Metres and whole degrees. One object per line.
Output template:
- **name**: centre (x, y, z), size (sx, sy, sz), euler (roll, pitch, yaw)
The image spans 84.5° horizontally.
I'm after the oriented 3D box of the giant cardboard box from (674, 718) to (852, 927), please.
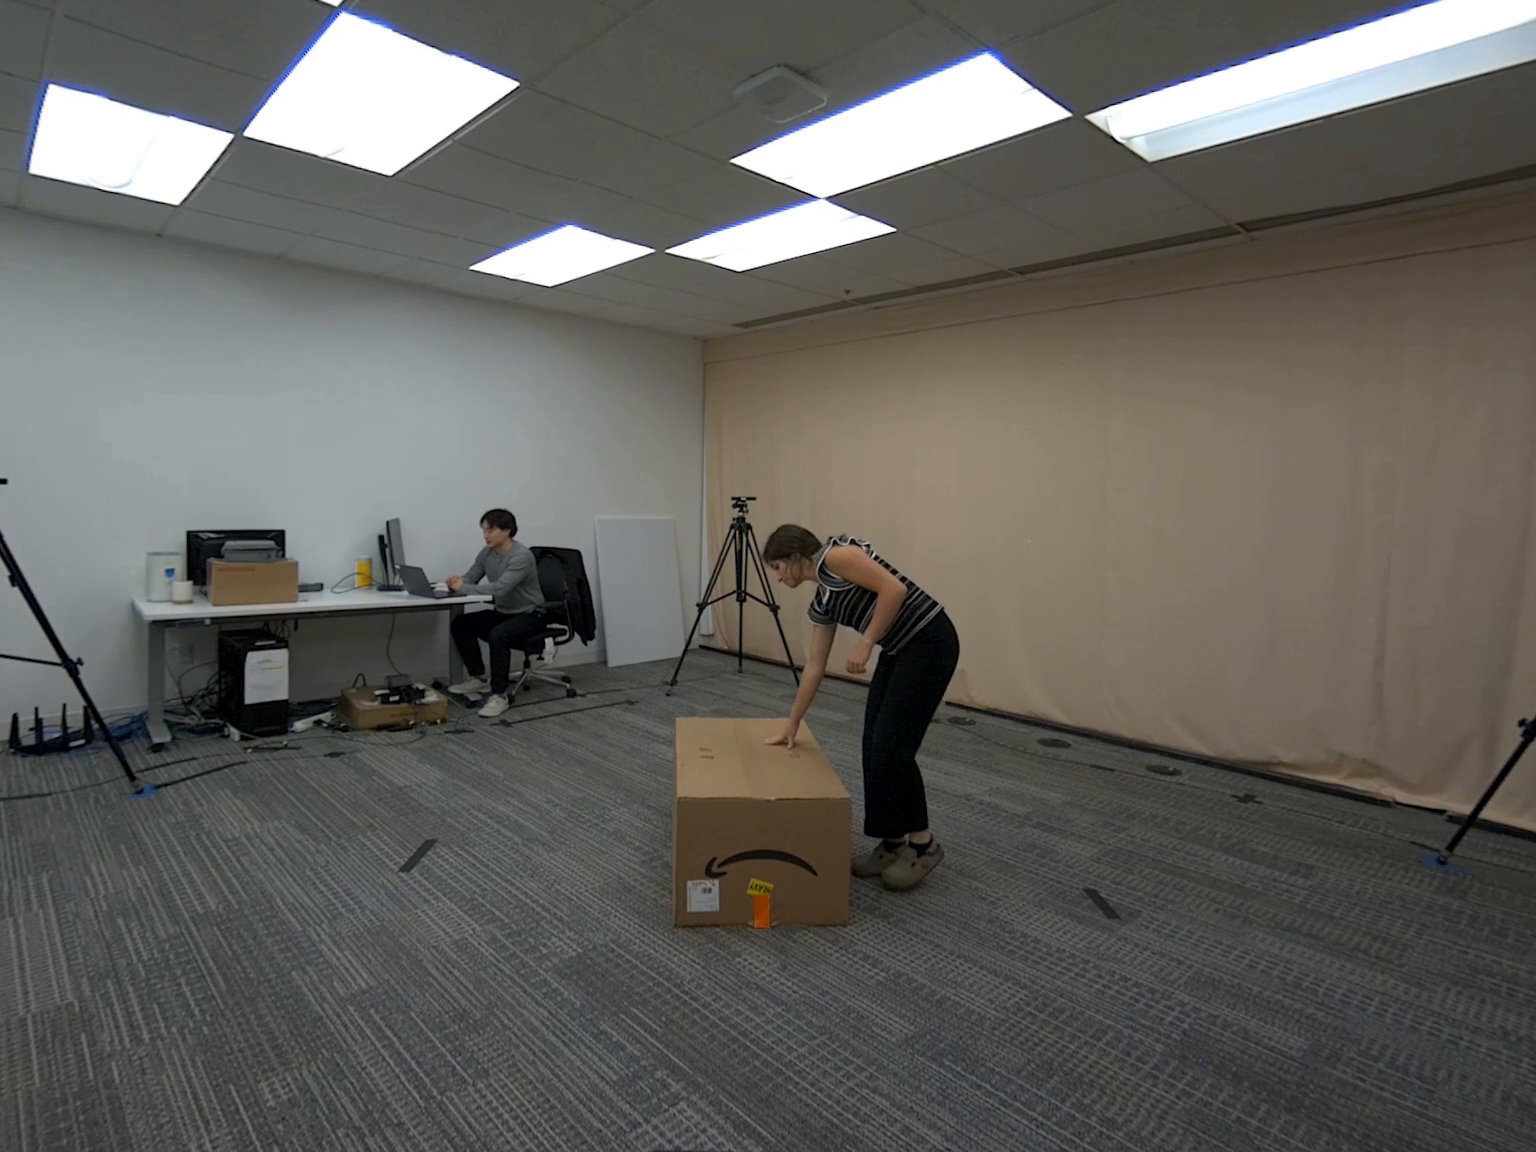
- **giant cardboard box**: centre (-0.081, 0.887, 3.232), size (0.575, 0.425, 1.033), euler (1, 4, -6)
